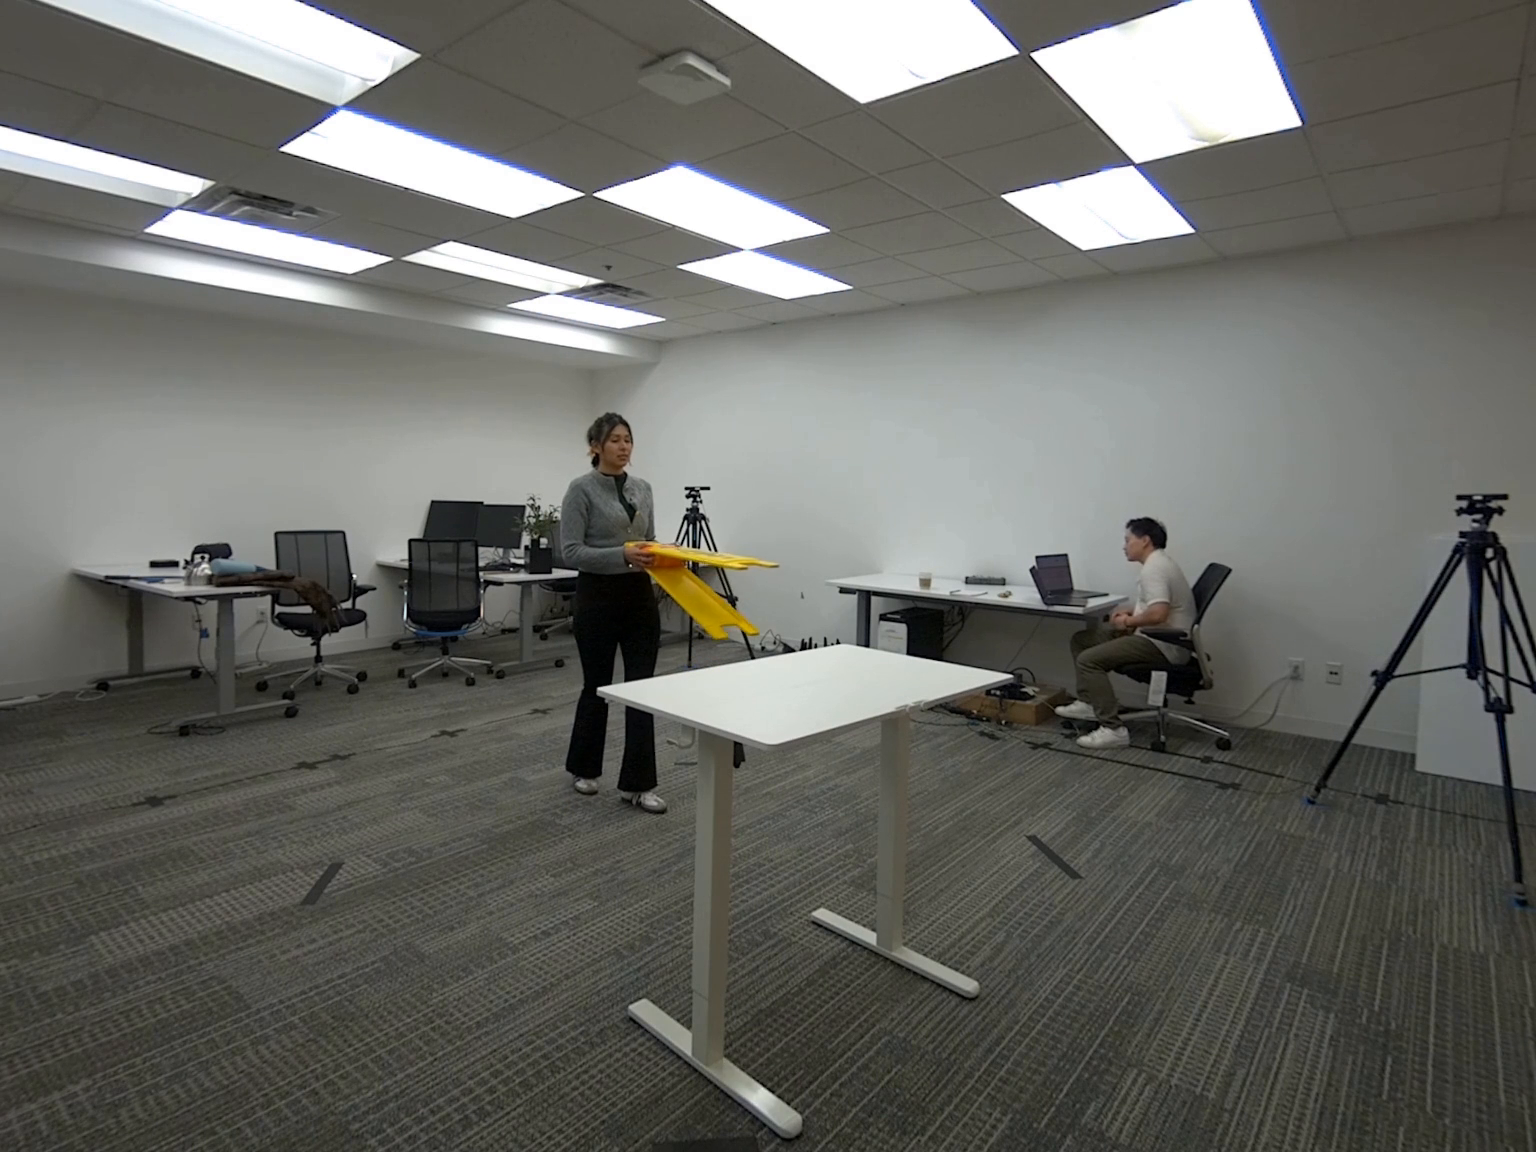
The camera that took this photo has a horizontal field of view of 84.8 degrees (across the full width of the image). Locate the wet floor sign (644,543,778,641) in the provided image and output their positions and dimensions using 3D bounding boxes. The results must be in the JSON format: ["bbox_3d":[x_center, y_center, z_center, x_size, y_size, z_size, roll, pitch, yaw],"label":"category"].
[{"bbox_3d":[-0.315,-0.019,3.499,0.672,0.287,0.274,26,17,35],"label":"wet floor sign"}]
